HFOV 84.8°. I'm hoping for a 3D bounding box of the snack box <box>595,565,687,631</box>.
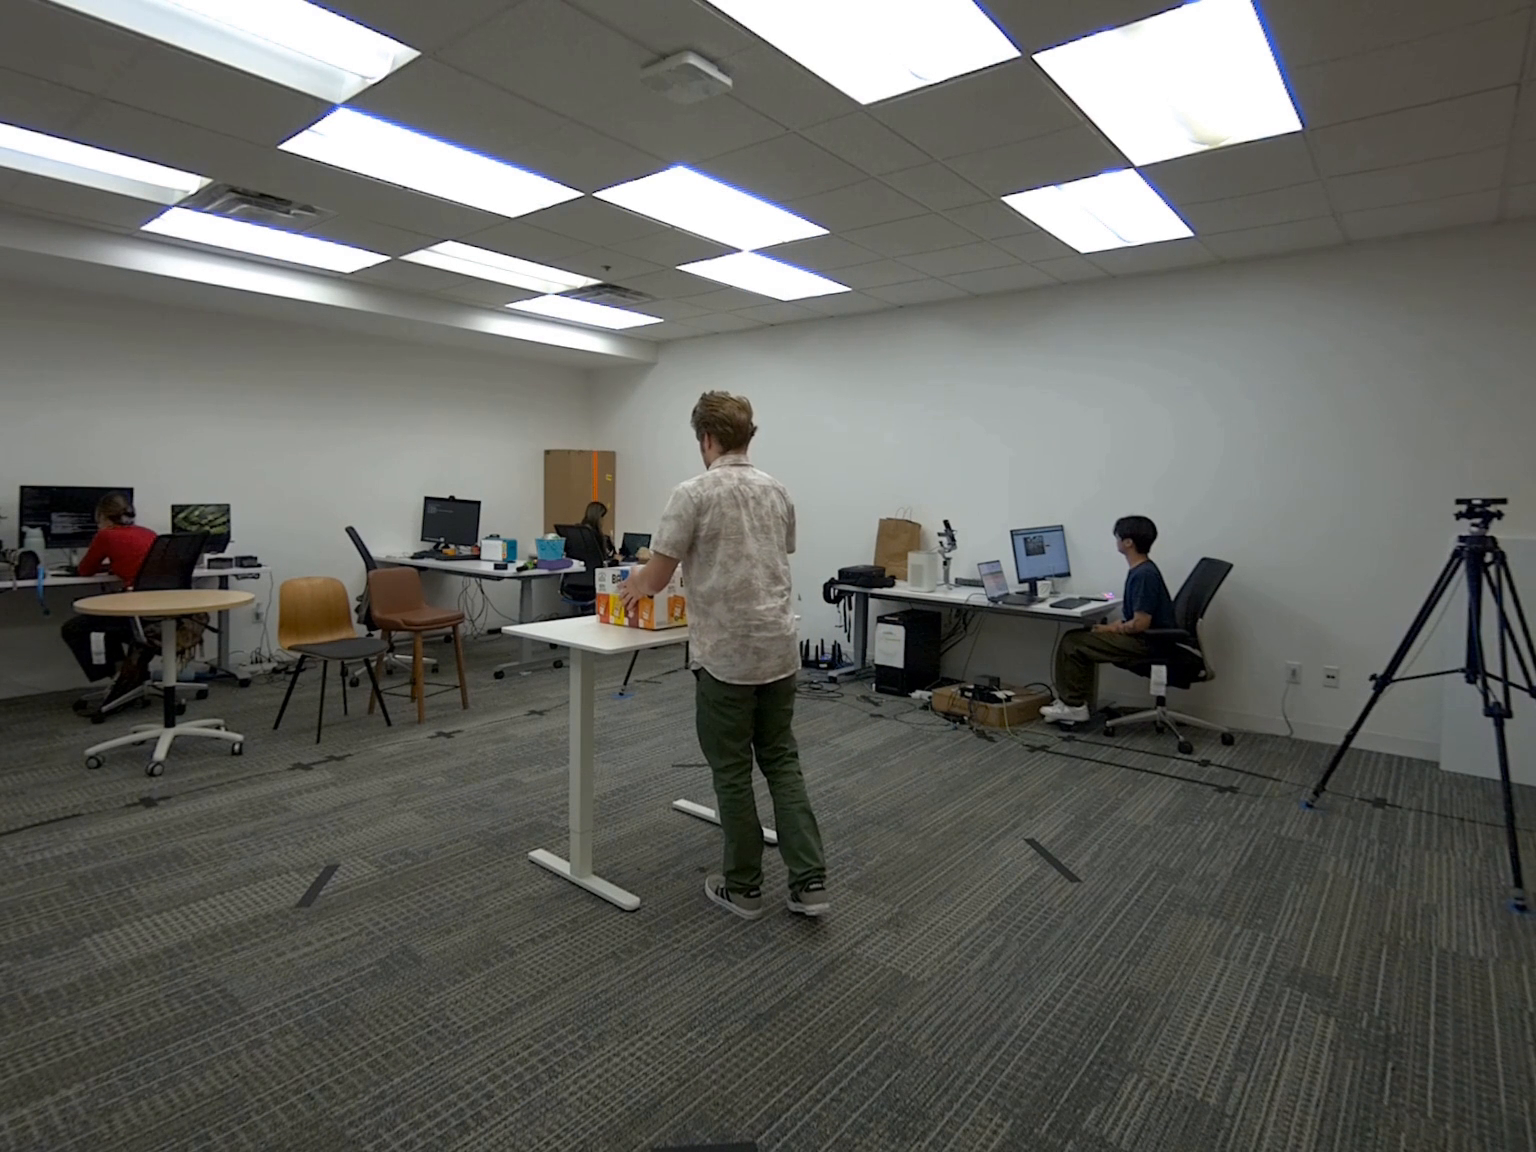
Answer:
[{"bbox_3d":[-0.403,0.061,3.235,0.351,0.205,0.393,3,6,42],"label":"snack box"}]
